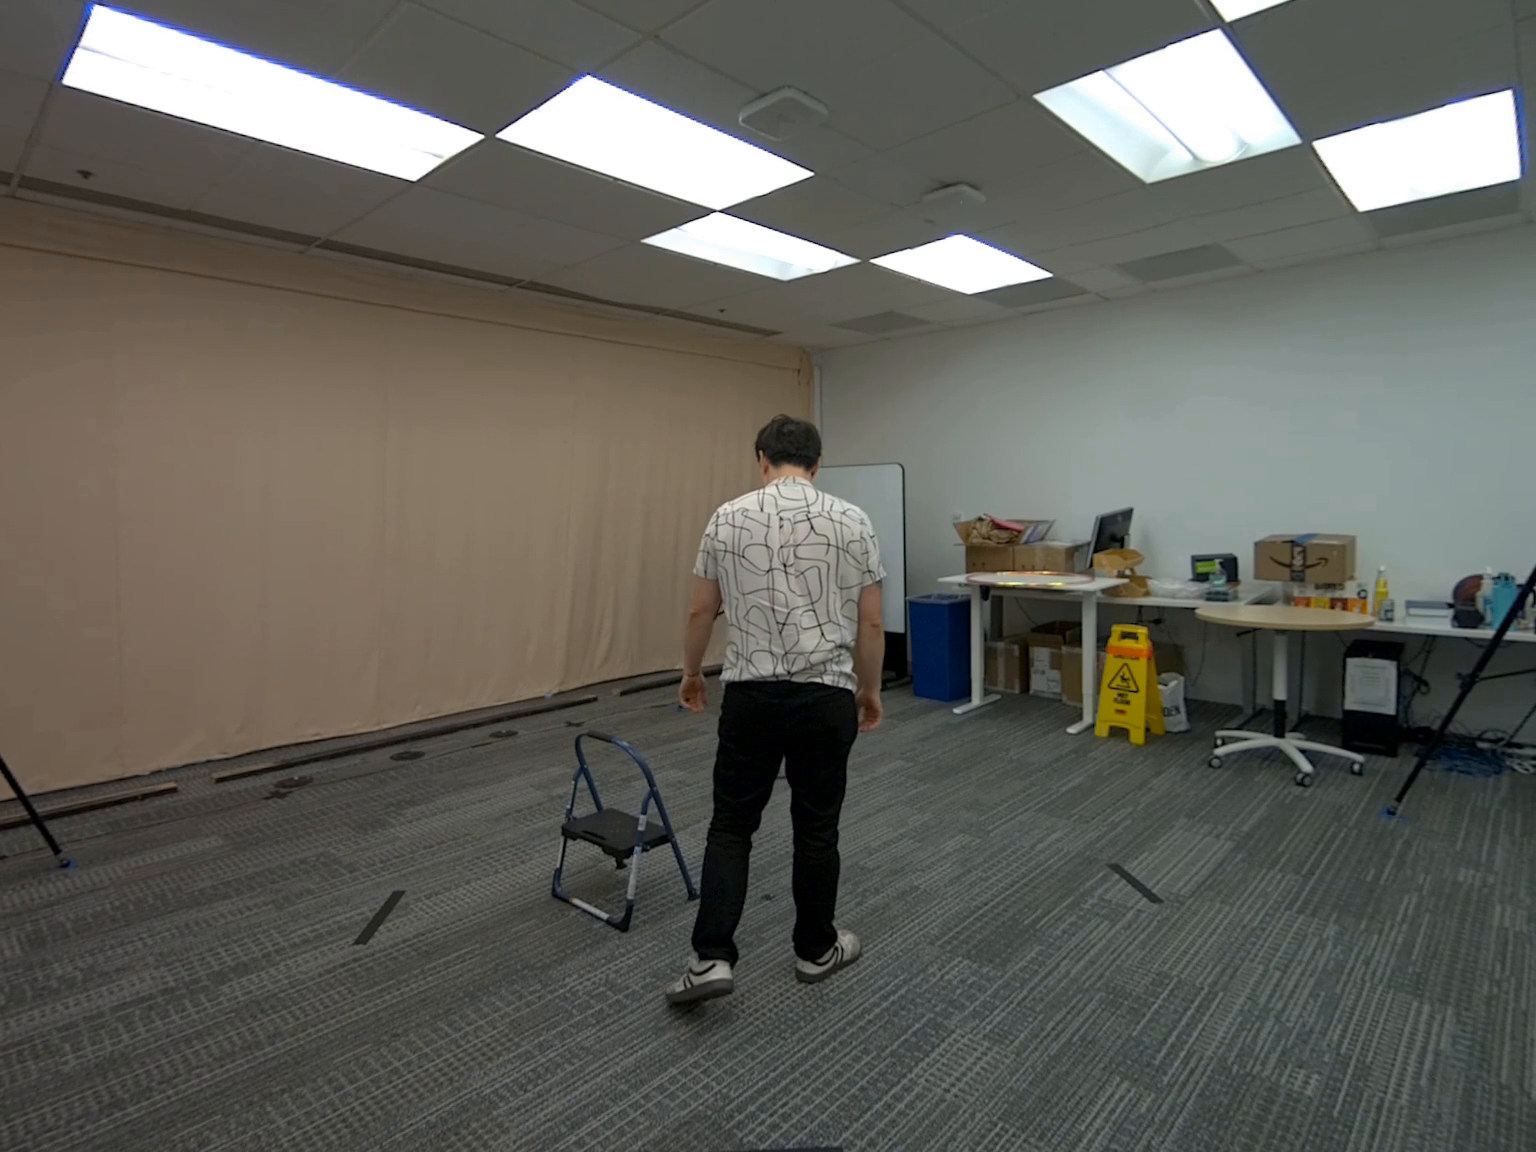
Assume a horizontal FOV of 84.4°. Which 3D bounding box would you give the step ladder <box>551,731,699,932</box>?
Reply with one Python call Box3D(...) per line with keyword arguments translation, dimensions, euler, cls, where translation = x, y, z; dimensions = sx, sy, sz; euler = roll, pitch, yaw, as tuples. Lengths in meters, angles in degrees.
Box3D(translation=(-0.522, 0.845, 3.001), dimensions=(0.445, 0.605, 0.339), euler=(2, 4, 41), cls="step ladder")
